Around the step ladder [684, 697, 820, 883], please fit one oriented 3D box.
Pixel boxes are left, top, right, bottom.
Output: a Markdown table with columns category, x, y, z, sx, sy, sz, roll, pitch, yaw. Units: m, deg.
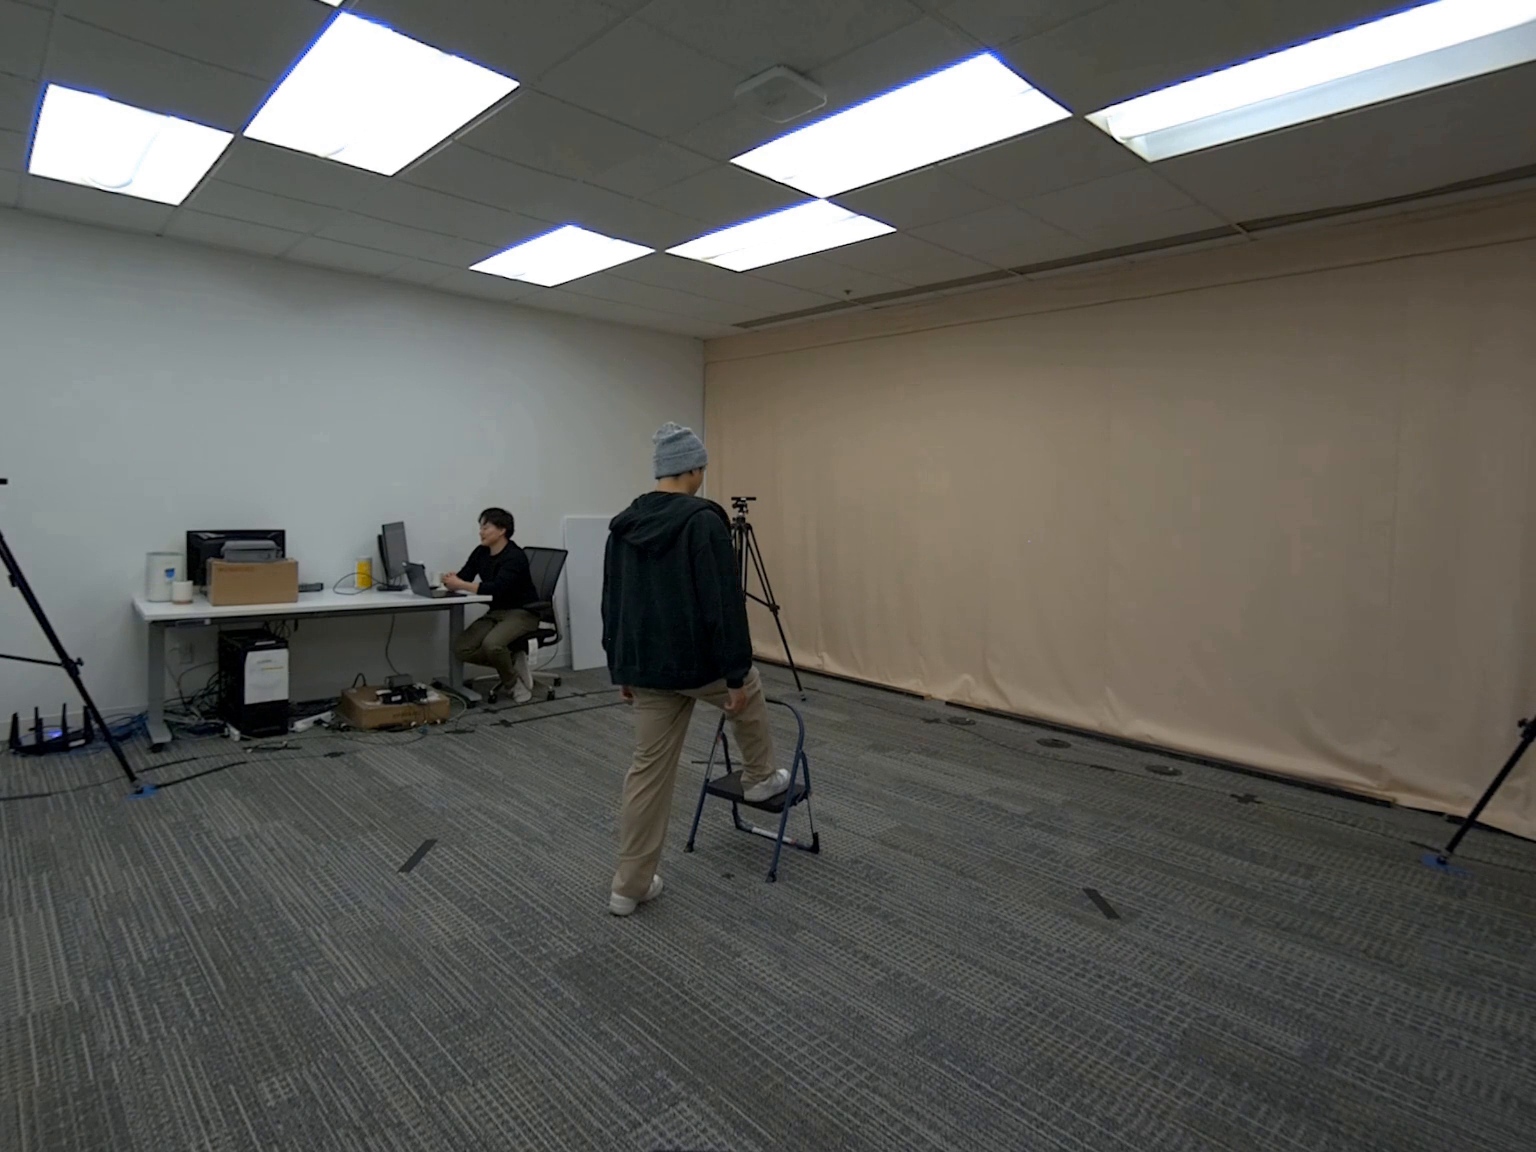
| category | x | y | z | sx | sy | sz | roll | pitch | yaw |
| --- | --- | --- | --- | --- | --- | --- | --- | --- | --- |
| step ladder | -0.056 | 0.788 | 3.307 | 0.441 | 0.605 | 0.342 | 4 | 4 | 36 |
